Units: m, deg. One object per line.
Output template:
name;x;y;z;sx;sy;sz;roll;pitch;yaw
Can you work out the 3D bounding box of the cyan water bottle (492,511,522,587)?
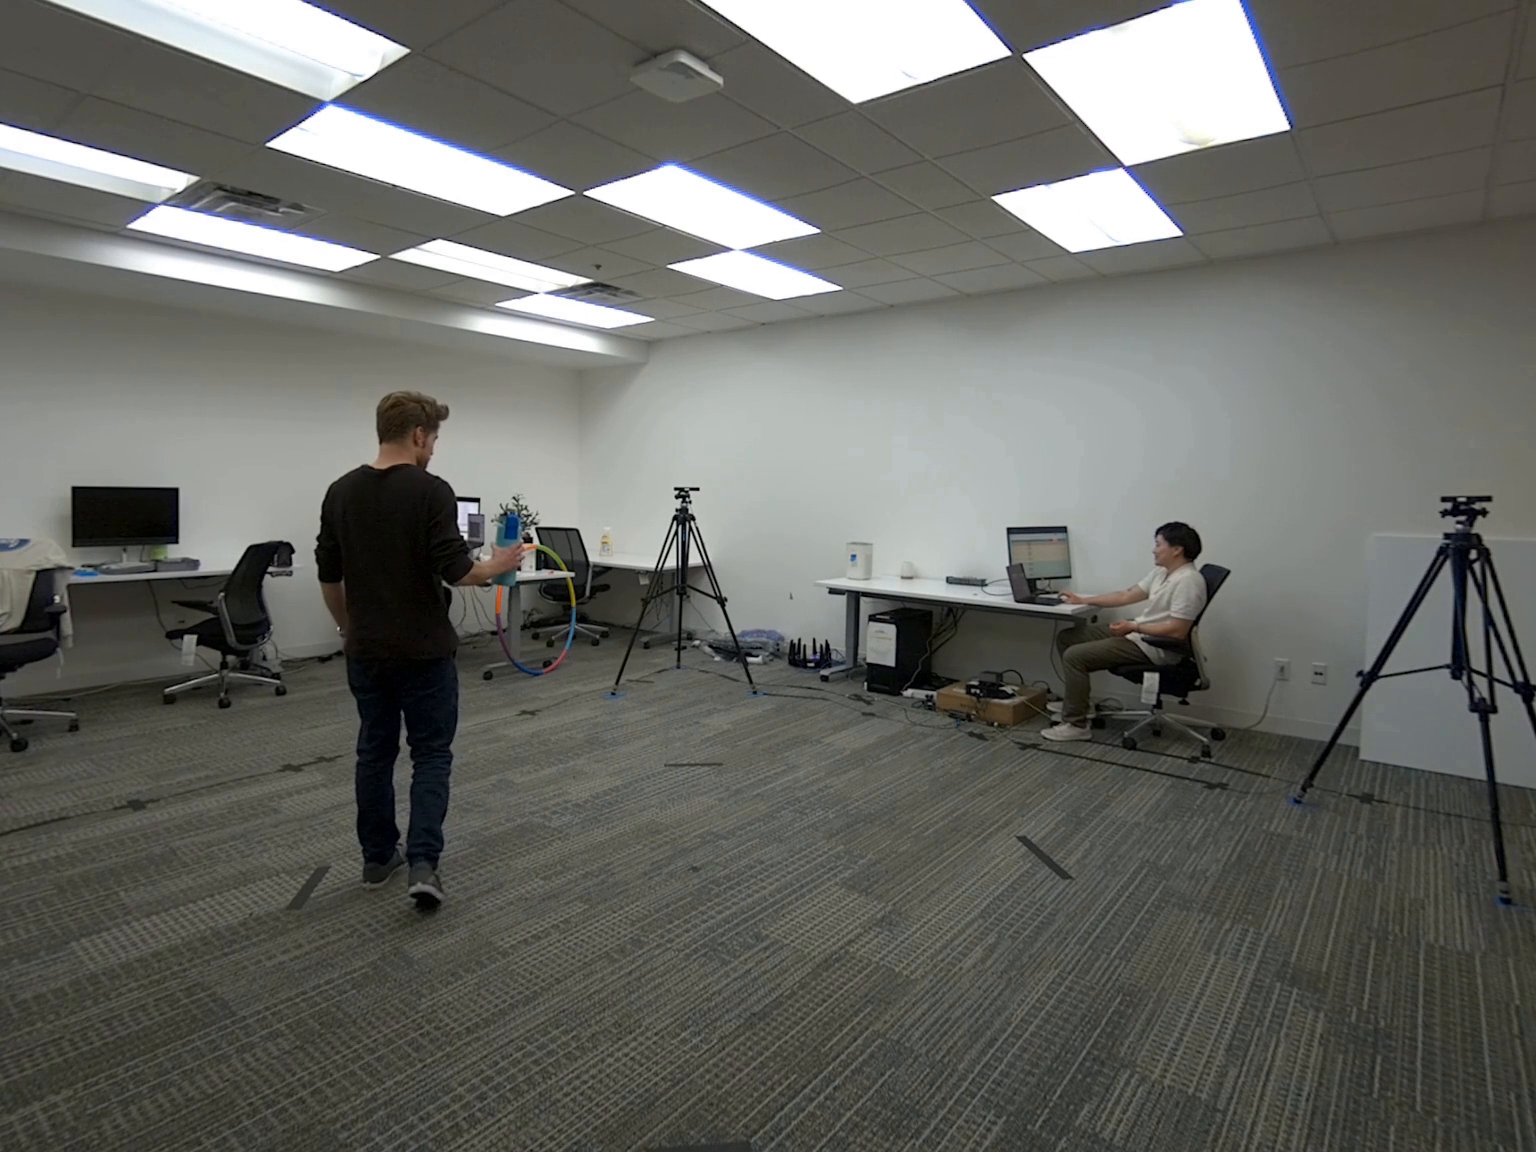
cyan water bottle;-0.981;-0.112;3.154;0.092;0.282;0.093;9;5;-3
